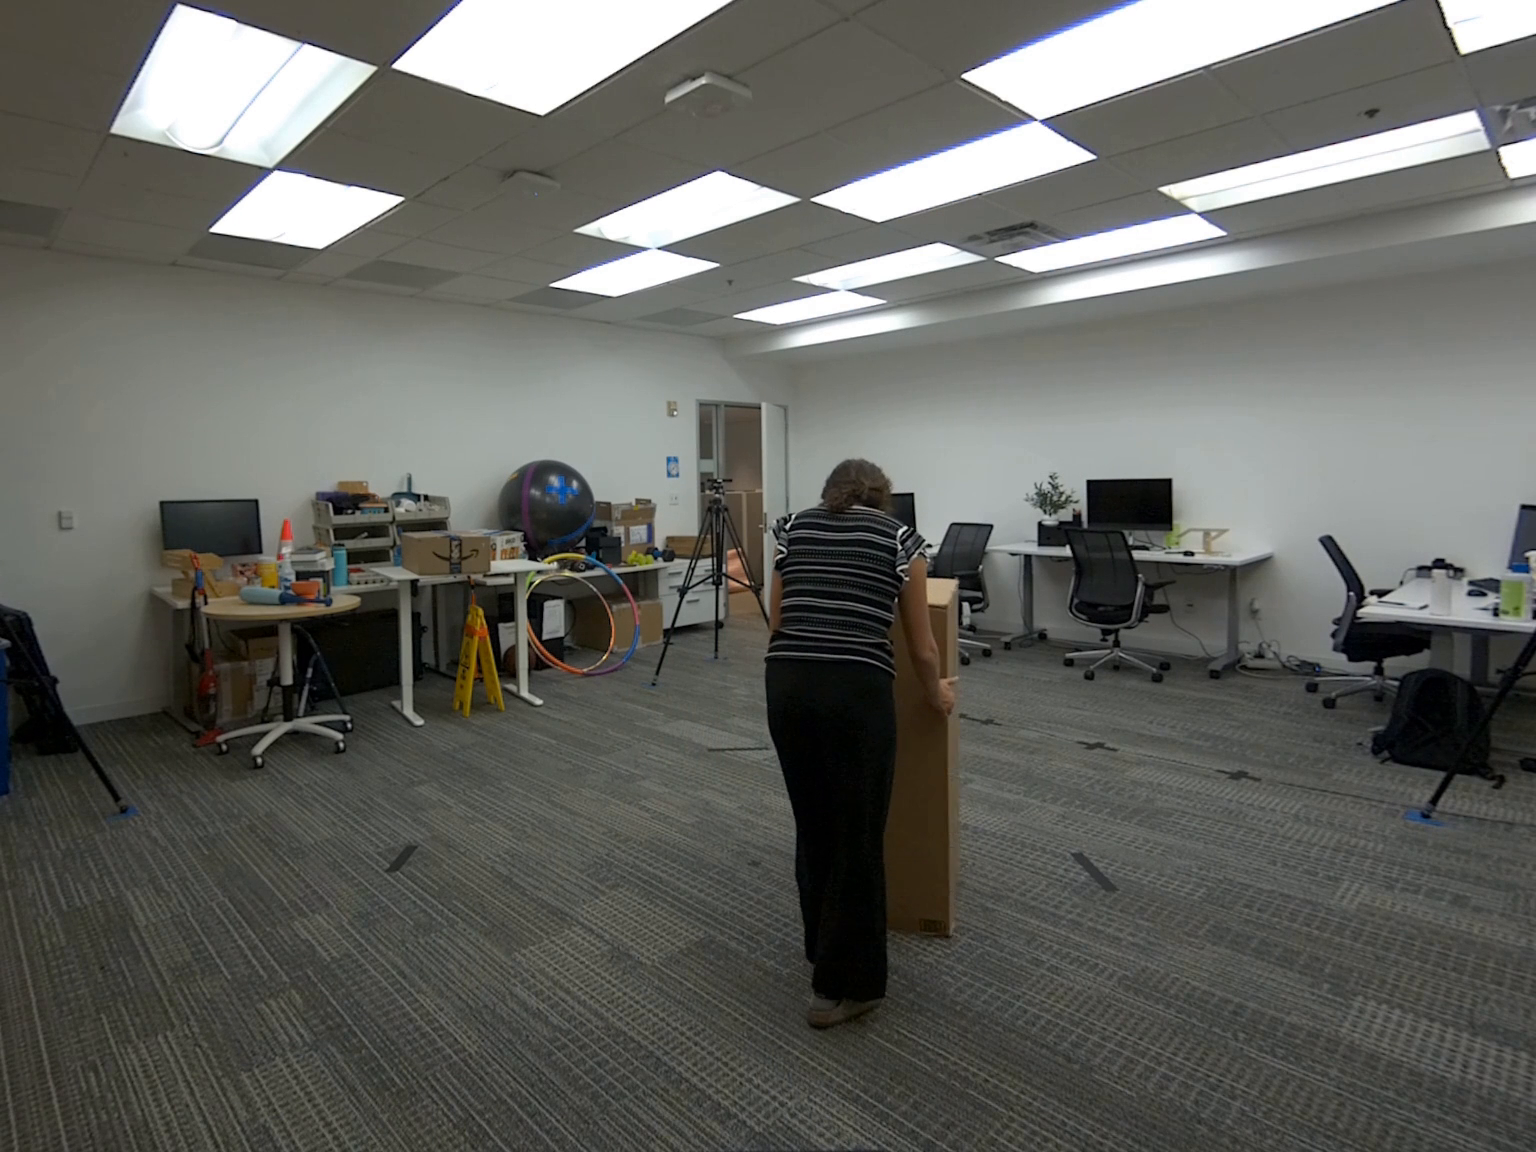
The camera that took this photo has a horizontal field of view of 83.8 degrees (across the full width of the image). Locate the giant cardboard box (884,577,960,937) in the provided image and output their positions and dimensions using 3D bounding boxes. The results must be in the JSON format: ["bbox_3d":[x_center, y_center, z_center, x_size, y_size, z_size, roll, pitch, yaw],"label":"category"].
[{"bbox_3d":[0.415,0.551,2.885,0.433,1.022,0.570,0,5,16],"label":"giant cardboard box"}]
